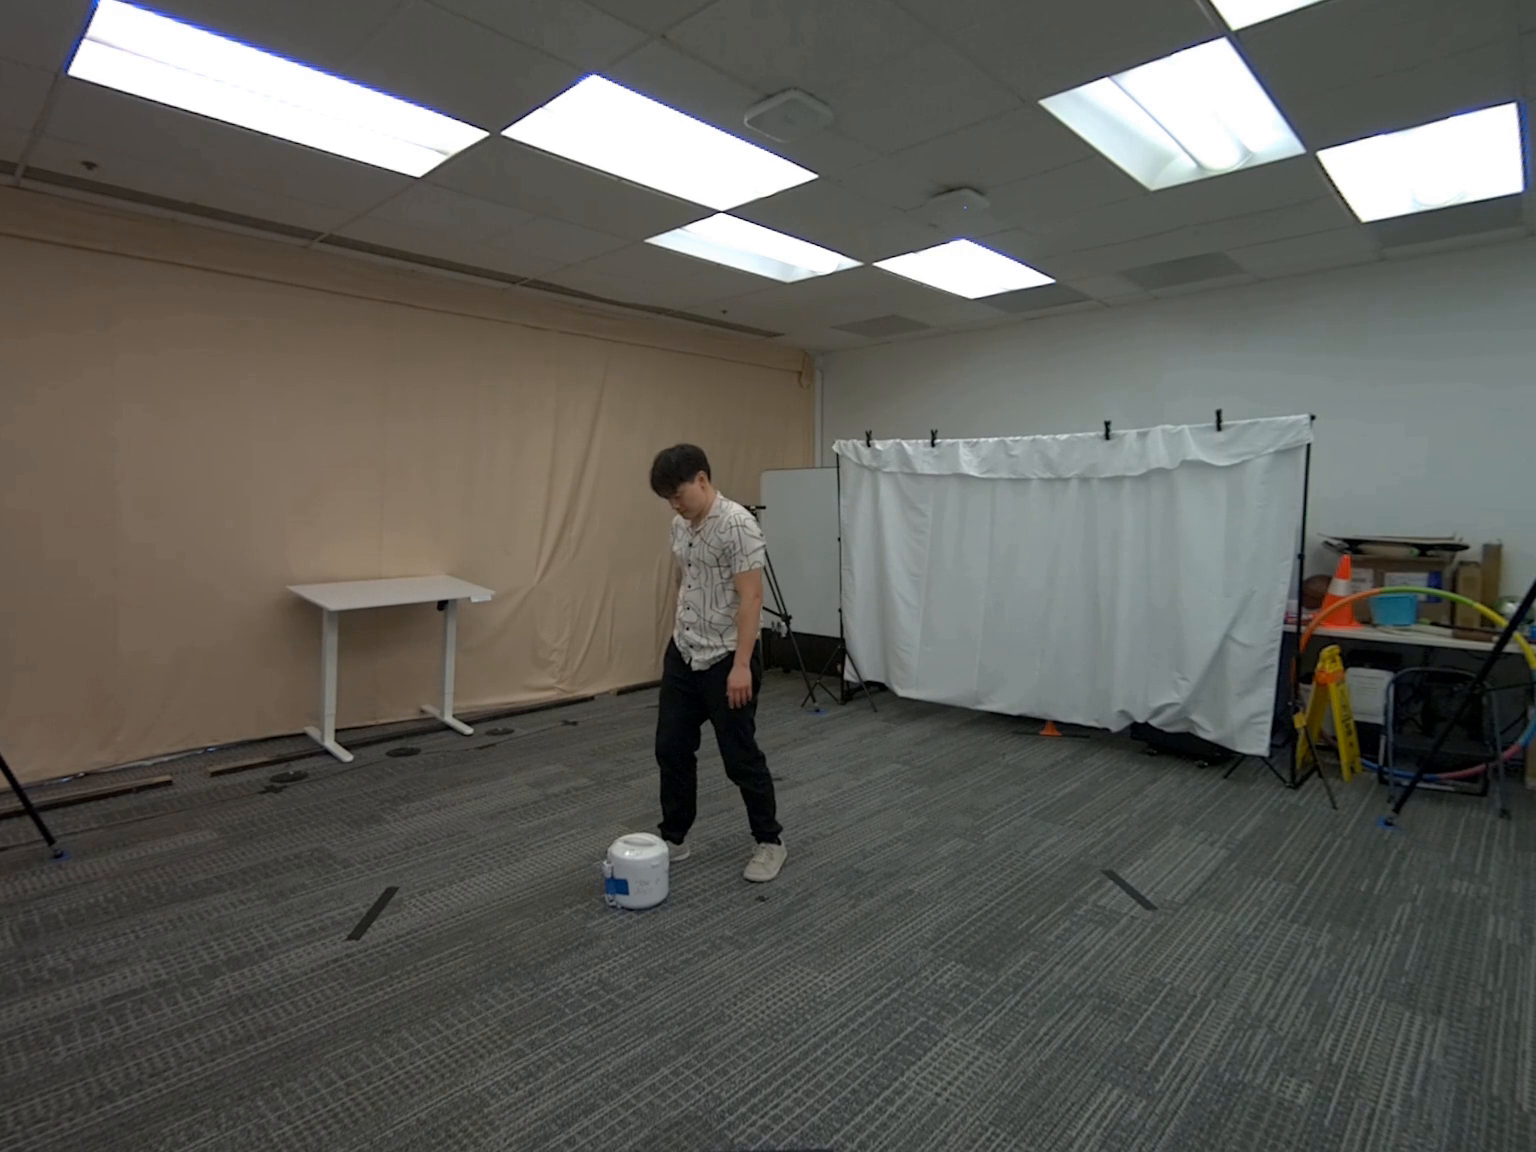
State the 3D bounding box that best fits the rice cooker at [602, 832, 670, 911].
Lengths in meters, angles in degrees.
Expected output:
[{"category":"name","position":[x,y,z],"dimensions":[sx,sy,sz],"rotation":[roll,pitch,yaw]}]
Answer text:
[{"category":"rice cooker","position":[-0.460,1.033,2.980],"dimensions":[0.224,0.232,0.215],"rotation":[2,5,12]}]
